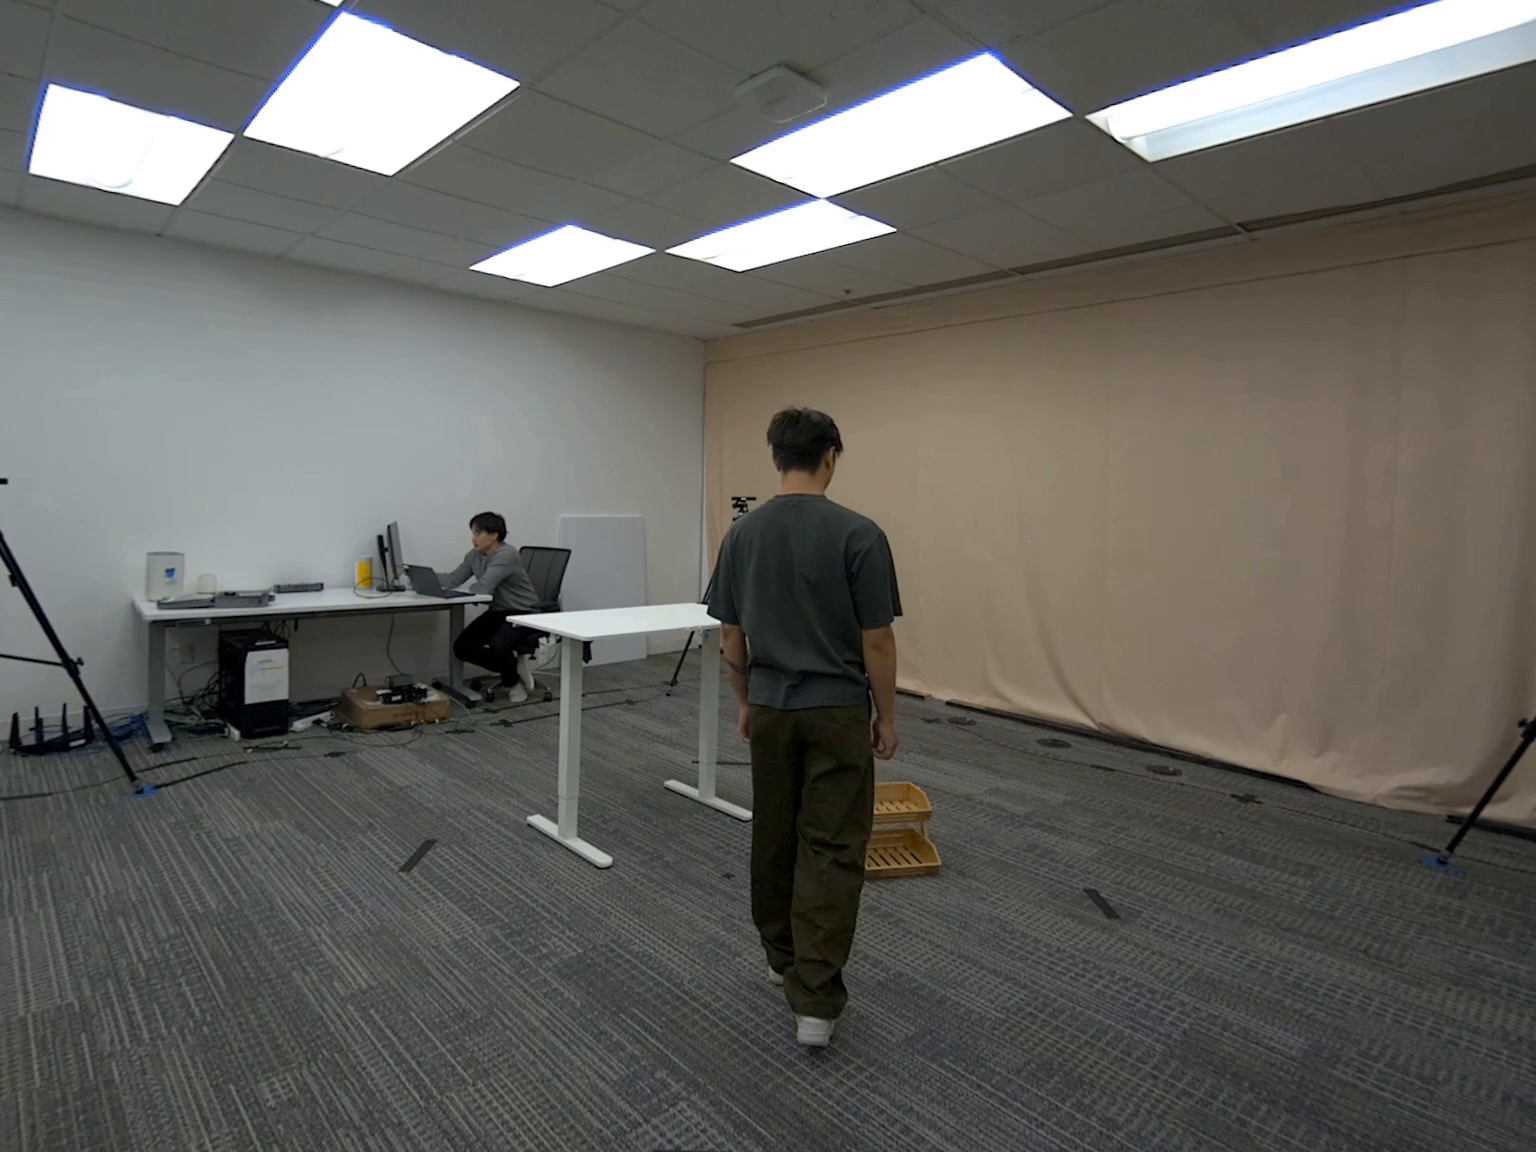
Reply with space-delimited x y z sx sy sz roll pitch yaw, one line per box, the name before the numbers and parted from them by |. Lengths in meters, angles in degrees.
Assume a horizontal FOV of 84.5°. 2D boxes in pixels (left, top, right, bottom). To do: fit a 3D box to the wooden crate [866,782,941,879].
wooden crate | 0.471 0.983 3.240 0.321 0.273 0.306 1 4 -14
